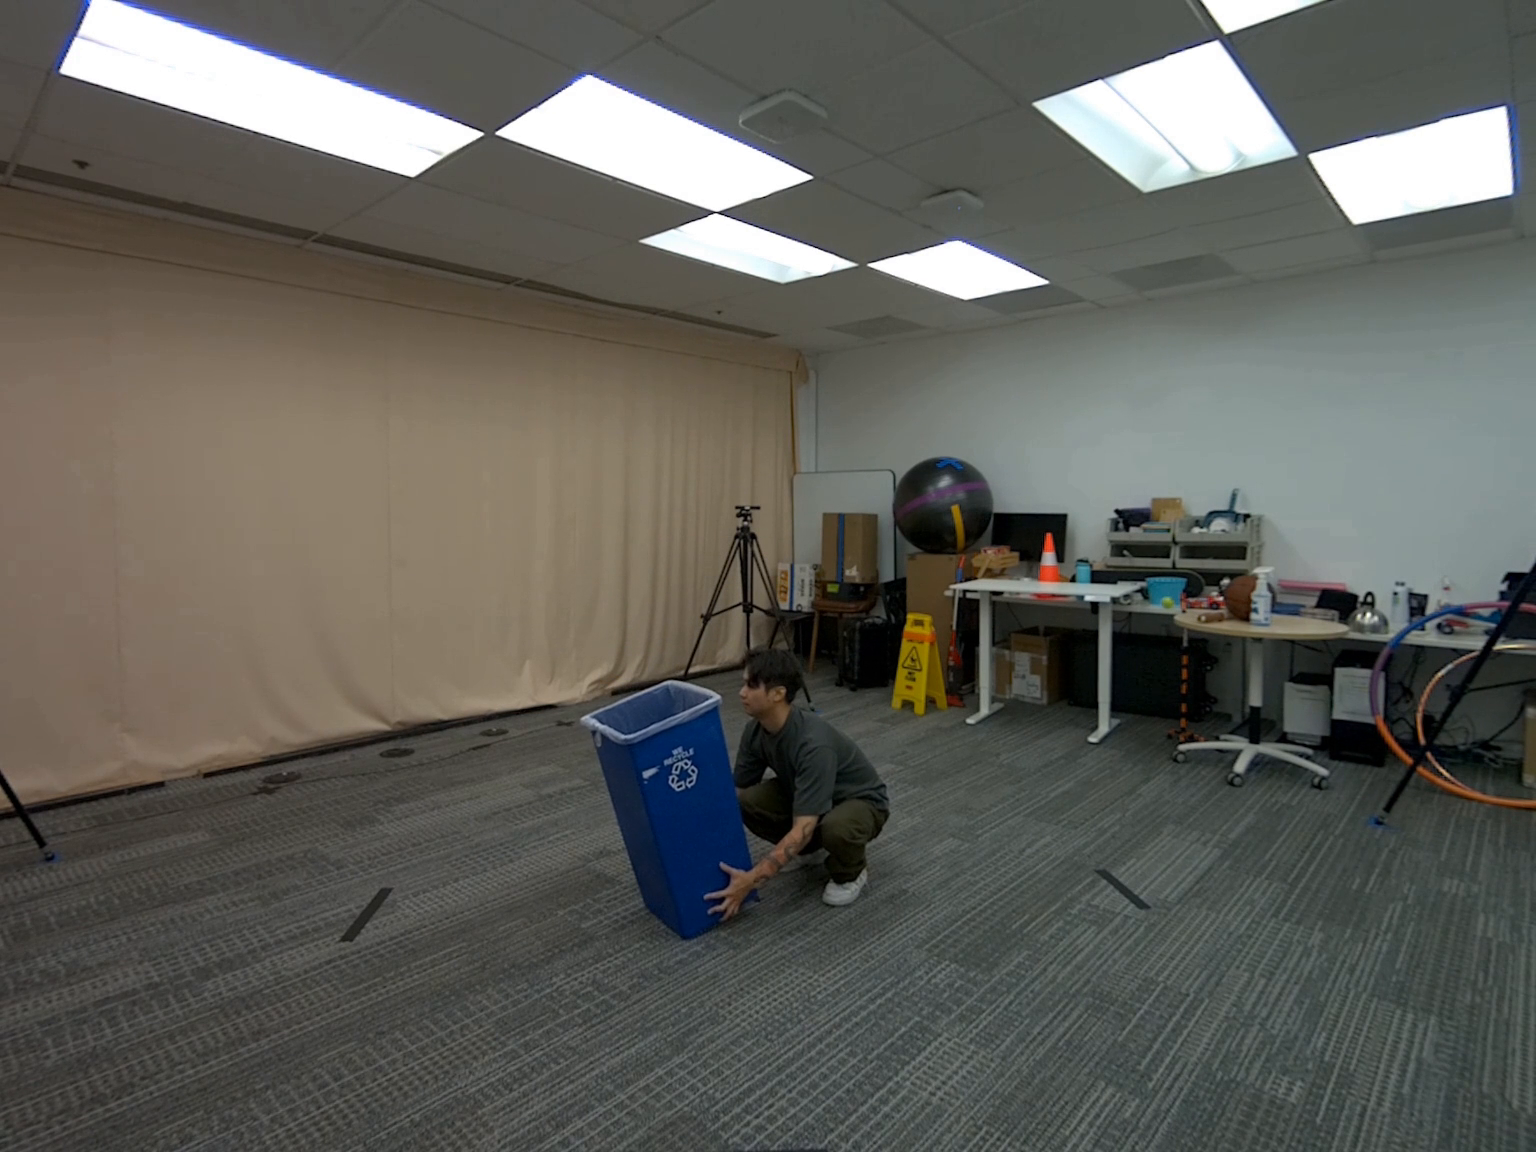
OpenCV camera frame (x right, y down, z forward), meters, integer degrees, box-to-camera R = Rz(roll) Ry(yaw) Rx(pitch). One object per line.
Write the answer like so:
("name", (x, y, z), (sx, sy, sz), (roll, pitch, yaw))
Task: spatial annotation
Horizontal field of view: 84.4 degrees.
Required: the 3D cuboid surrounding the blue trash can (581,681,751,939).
("blue trash can", (-0.304, 0.770, 2.824), (0.370, 0.708, 0.385), (-19, 11, -32))
